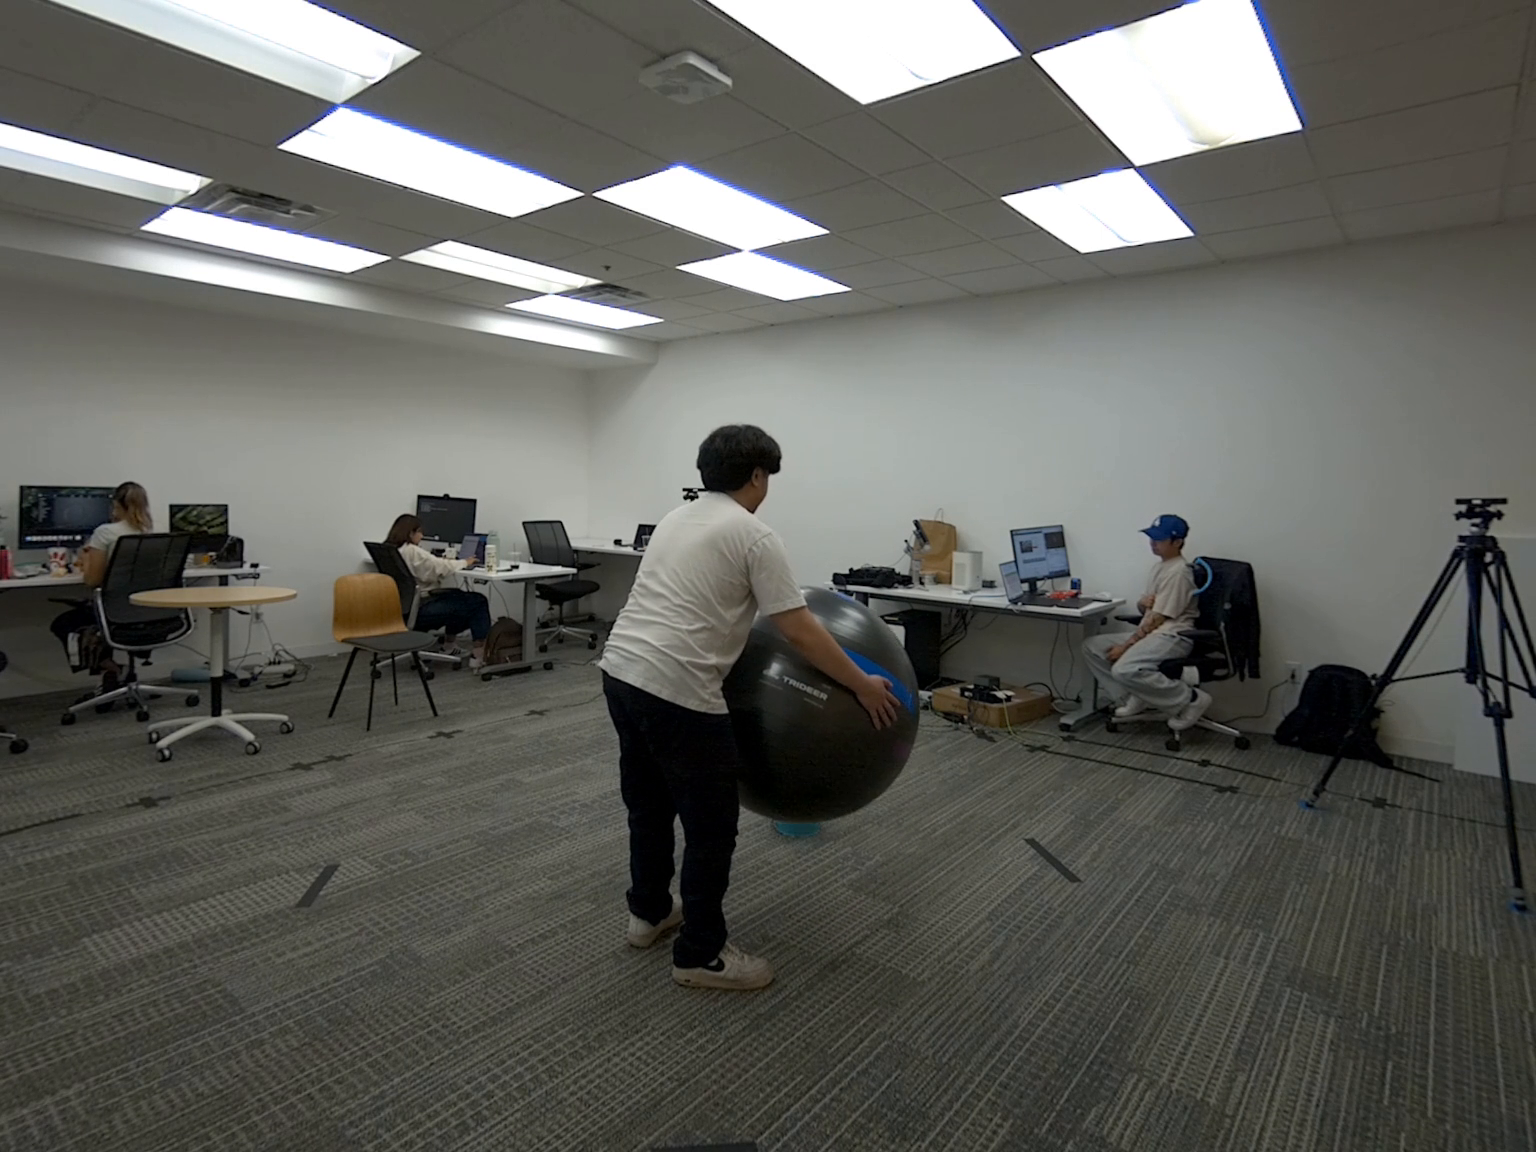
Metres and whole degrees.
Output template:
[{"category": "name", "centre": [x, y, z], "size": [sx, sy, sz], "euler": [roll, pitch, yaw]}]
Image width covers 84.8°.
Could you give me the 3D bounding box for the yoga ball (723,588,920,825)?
[{"category": "yoga ball", "centre": [0.104, 0.420, 2.803], "size": [0.757, 0.755, 0.762], "euler": [1, 4, -2]}]
